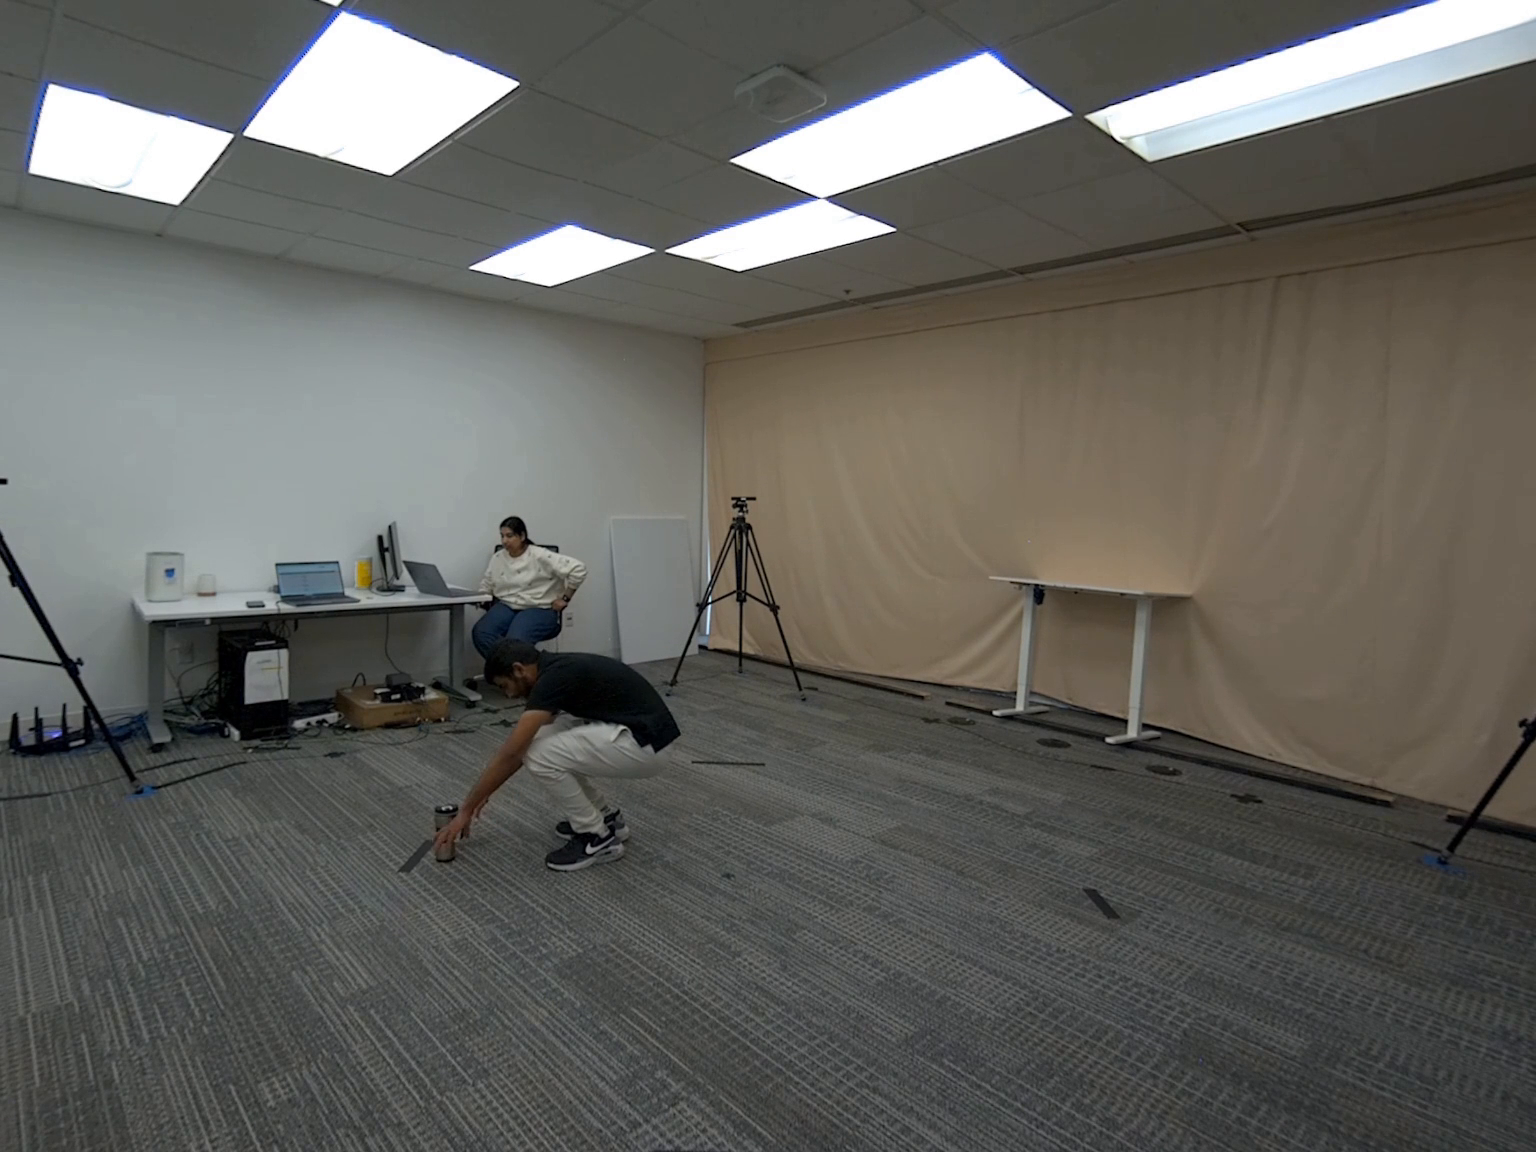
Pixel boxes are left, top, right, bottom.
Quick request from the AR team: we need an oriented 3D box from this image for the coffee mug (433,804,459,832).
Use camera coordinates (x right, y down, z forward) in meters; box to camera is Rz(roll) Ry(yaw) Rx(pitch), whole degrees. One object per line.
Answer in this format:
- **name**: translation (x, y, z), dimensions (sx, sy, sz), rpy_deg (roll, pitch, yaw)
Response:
- **coffee mug**: translation (-1.211, 0.978, 3.180), dimensions (0.125, 0.203, 0.086), rpy_deg (1, -1, 38)
